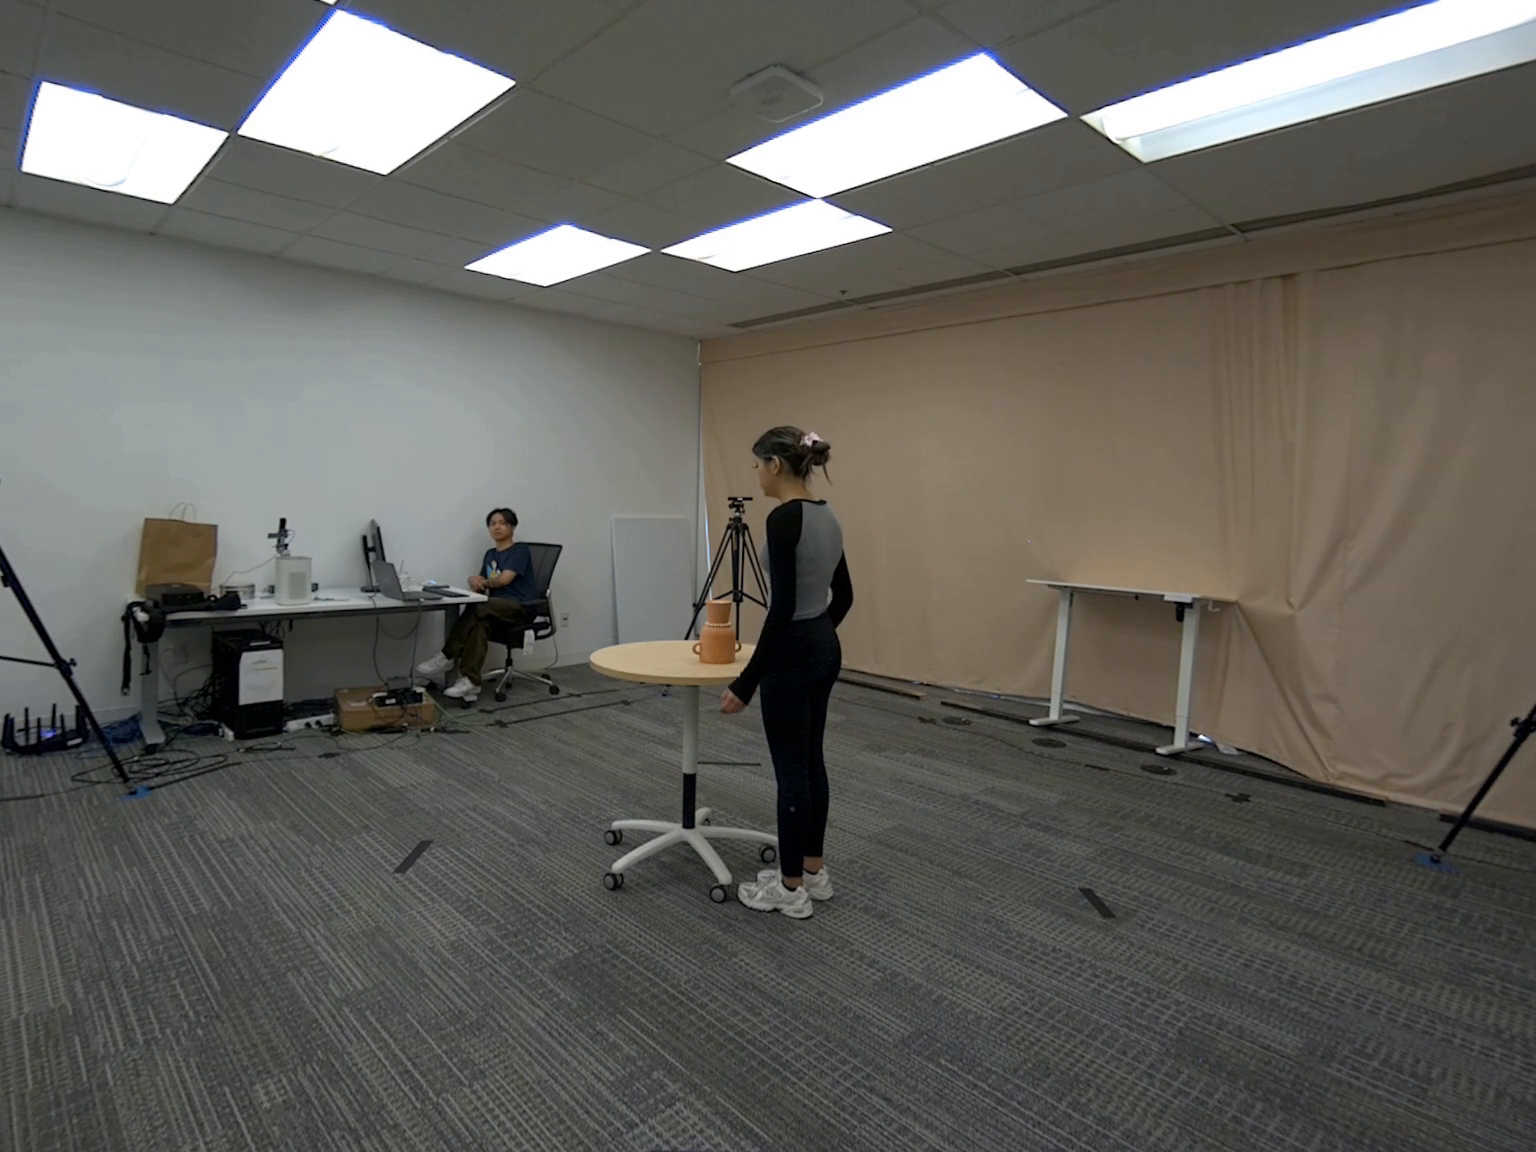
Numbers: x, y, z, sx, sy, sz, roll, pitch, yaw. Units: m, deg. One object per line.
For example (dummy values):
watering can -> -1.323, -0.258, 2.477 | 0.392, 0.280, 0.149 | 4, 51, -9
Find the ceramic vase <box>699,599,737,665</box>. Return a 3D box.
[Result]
ceramic vase -> -0.186, 0.203, 3.093 | 0.137, 0.219, 0.156 | 3, 5, 23
